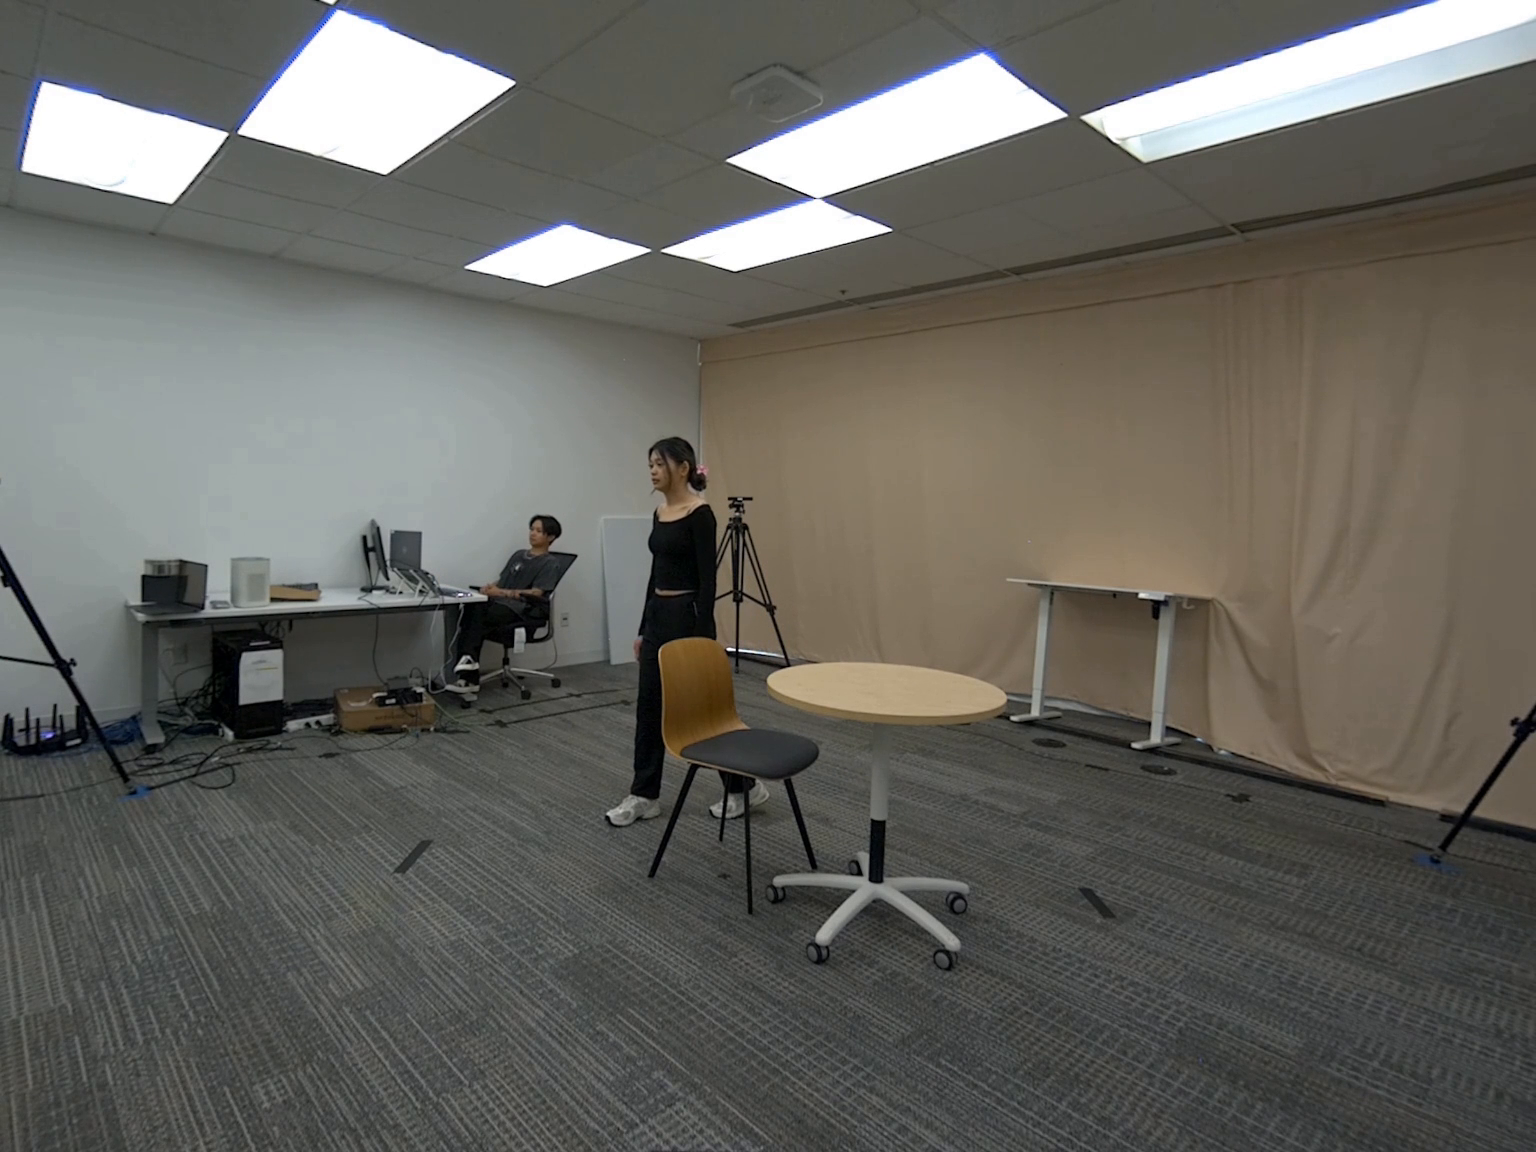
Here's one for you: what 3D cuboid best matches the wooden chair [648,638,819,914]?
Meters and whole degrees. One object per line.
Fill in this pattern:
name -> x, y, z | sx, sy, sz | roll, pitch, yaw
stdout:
wooden chair -> -0.115, 0.679, 3.097 | 0.534, 0.877, 0.468 | -2, 1, 35
